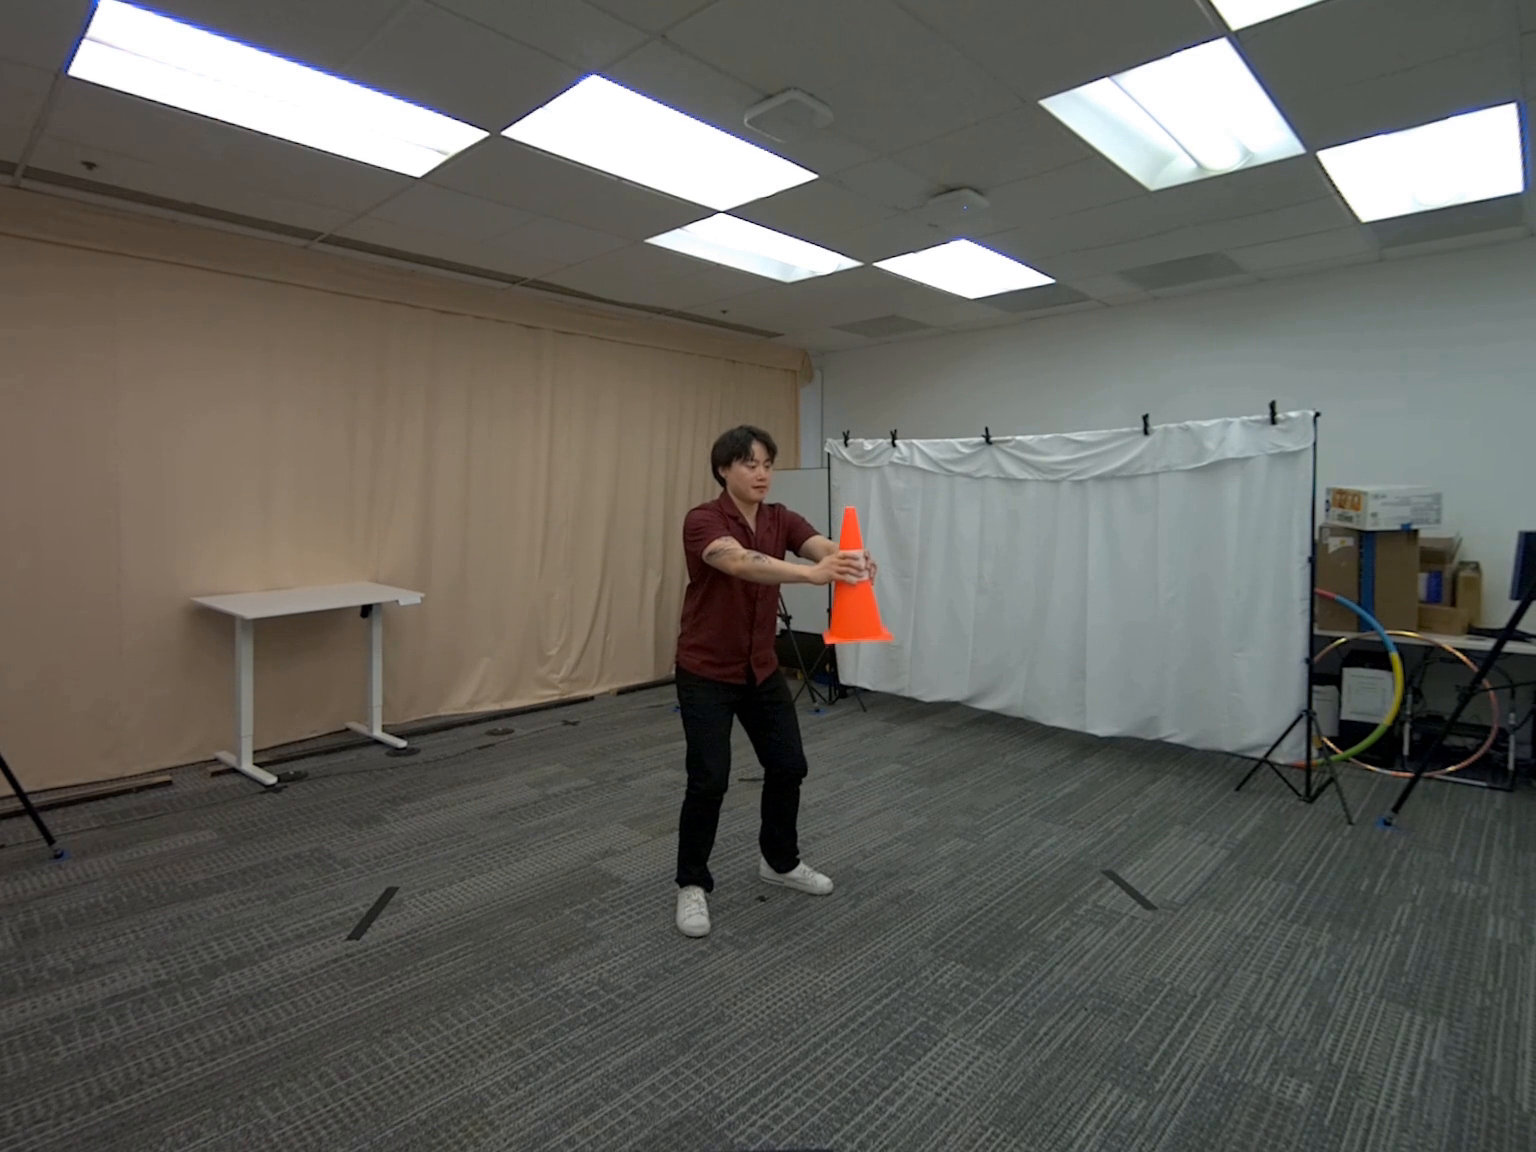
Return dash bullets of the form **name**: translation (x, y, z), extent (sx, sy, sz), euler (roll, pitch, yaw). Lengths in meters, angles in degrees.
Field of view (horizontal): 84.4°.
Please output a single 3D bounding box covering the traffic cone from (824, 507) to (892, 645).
- **traffic cone**: translation (0.257, -0.009, 2.483), extent (0.203, 0.382, 0.206), euler (-5, 4, -2)
